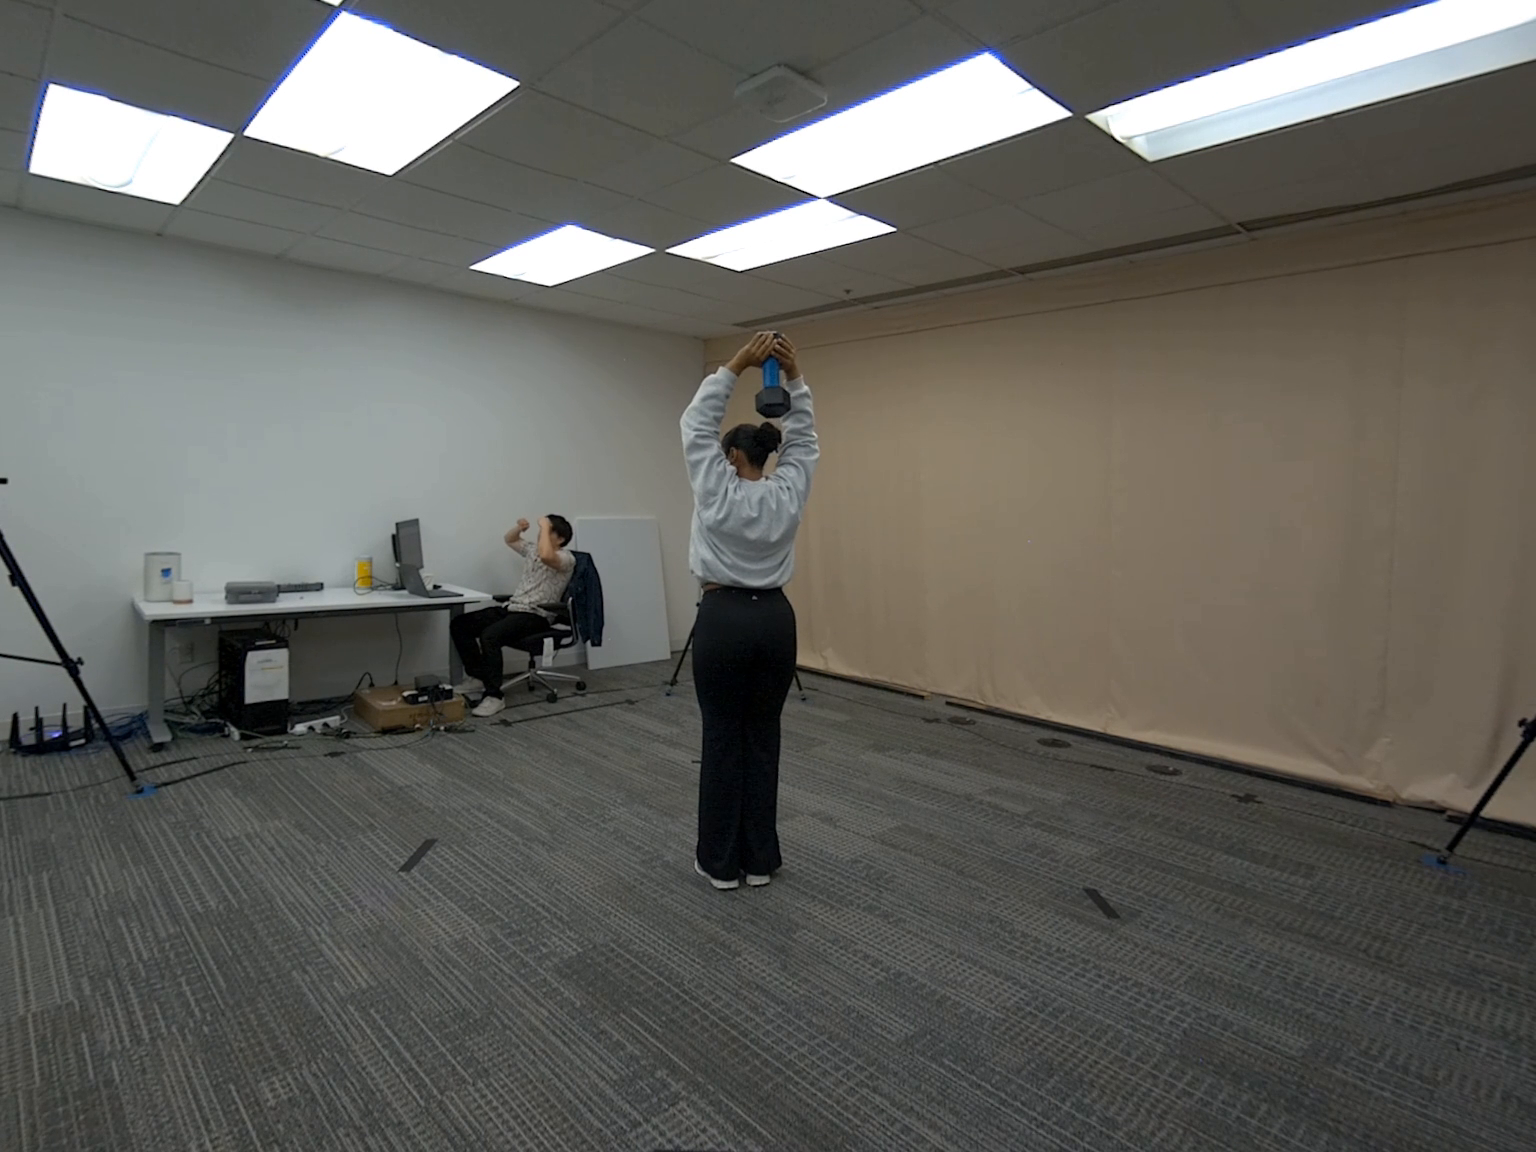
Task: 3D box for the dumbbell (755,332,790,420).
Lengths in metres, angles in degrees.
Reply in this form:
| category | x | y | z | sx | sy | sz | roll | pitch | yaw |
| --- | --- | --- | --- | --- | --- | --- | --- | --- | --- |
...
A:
| category | x | y | z | sx | sy | sz | roll | pitch | yaw |
| --- | --- | --- | --- | --- | --- | --- | --- | --- | --- |
| dumbbell | 0.001 | -0.693 | 2.940 | 0.110 | 0.297 | 0.119 | -12 | -19 | 28 |
